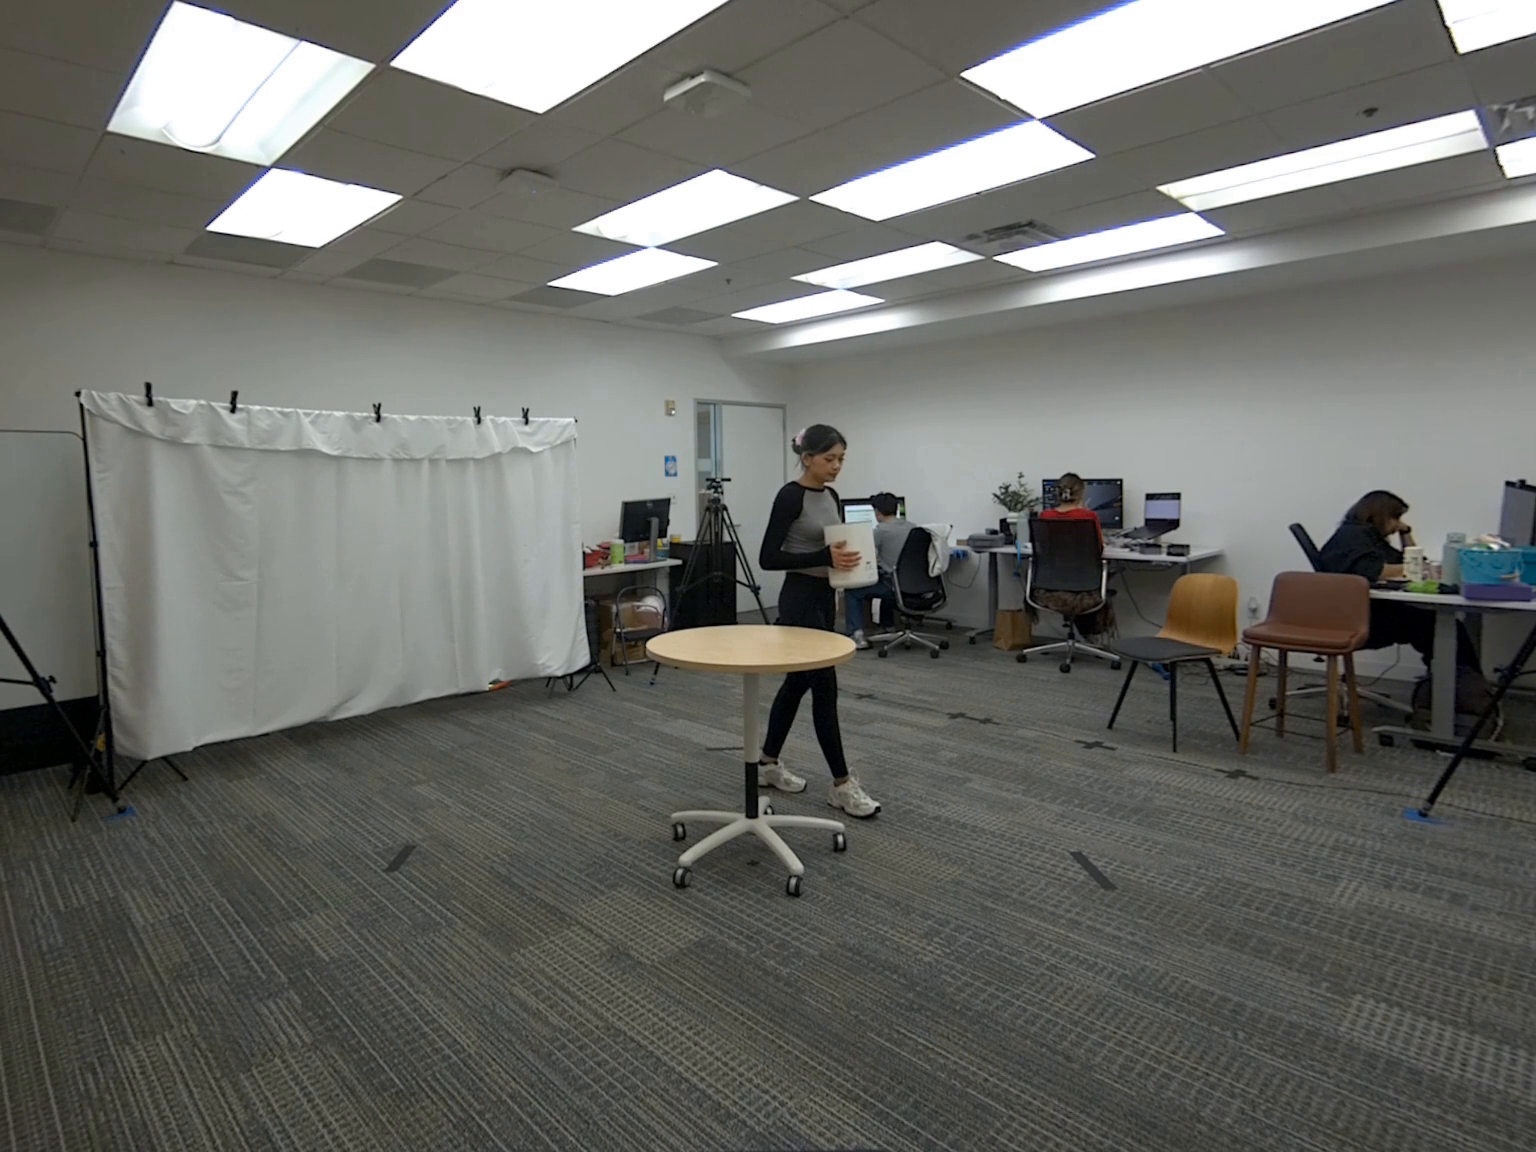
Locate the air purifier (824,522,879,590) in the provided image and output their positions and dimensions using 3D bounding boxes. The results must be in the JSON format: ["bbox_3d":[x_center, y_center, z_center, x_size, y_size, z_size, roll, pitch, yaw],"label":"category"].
[{"bbox_3d":[0.332,-0.086,3.526,0.176,0.265,0.166,-6,0,42],"label":"air purifier"}]
